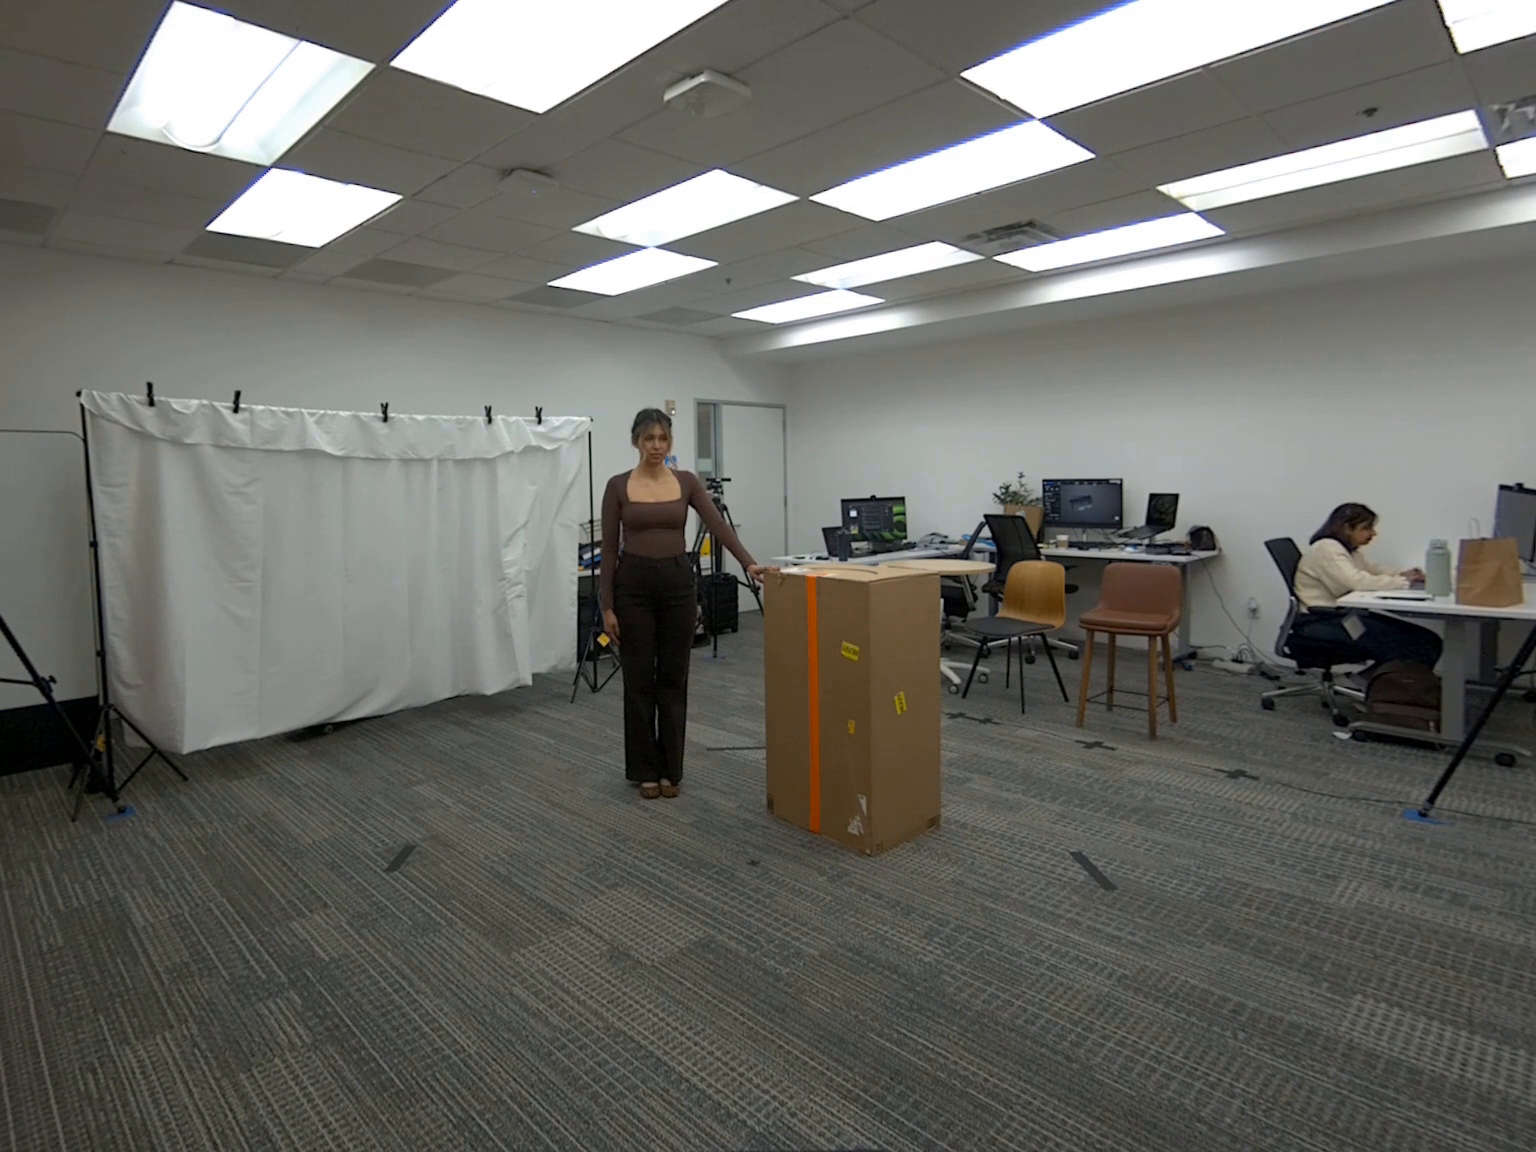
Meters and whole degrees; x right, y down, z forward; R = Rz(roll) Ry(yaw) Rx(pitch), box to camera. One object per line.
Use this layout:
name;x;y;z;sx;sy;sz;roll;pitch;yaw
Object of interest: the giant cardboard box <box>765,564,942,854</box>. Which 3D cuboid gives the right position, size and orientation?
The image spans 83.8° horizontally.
giant cardboard box;0.335;0.487;3.456;0.435;1.023;0.602;-5;6;-39
